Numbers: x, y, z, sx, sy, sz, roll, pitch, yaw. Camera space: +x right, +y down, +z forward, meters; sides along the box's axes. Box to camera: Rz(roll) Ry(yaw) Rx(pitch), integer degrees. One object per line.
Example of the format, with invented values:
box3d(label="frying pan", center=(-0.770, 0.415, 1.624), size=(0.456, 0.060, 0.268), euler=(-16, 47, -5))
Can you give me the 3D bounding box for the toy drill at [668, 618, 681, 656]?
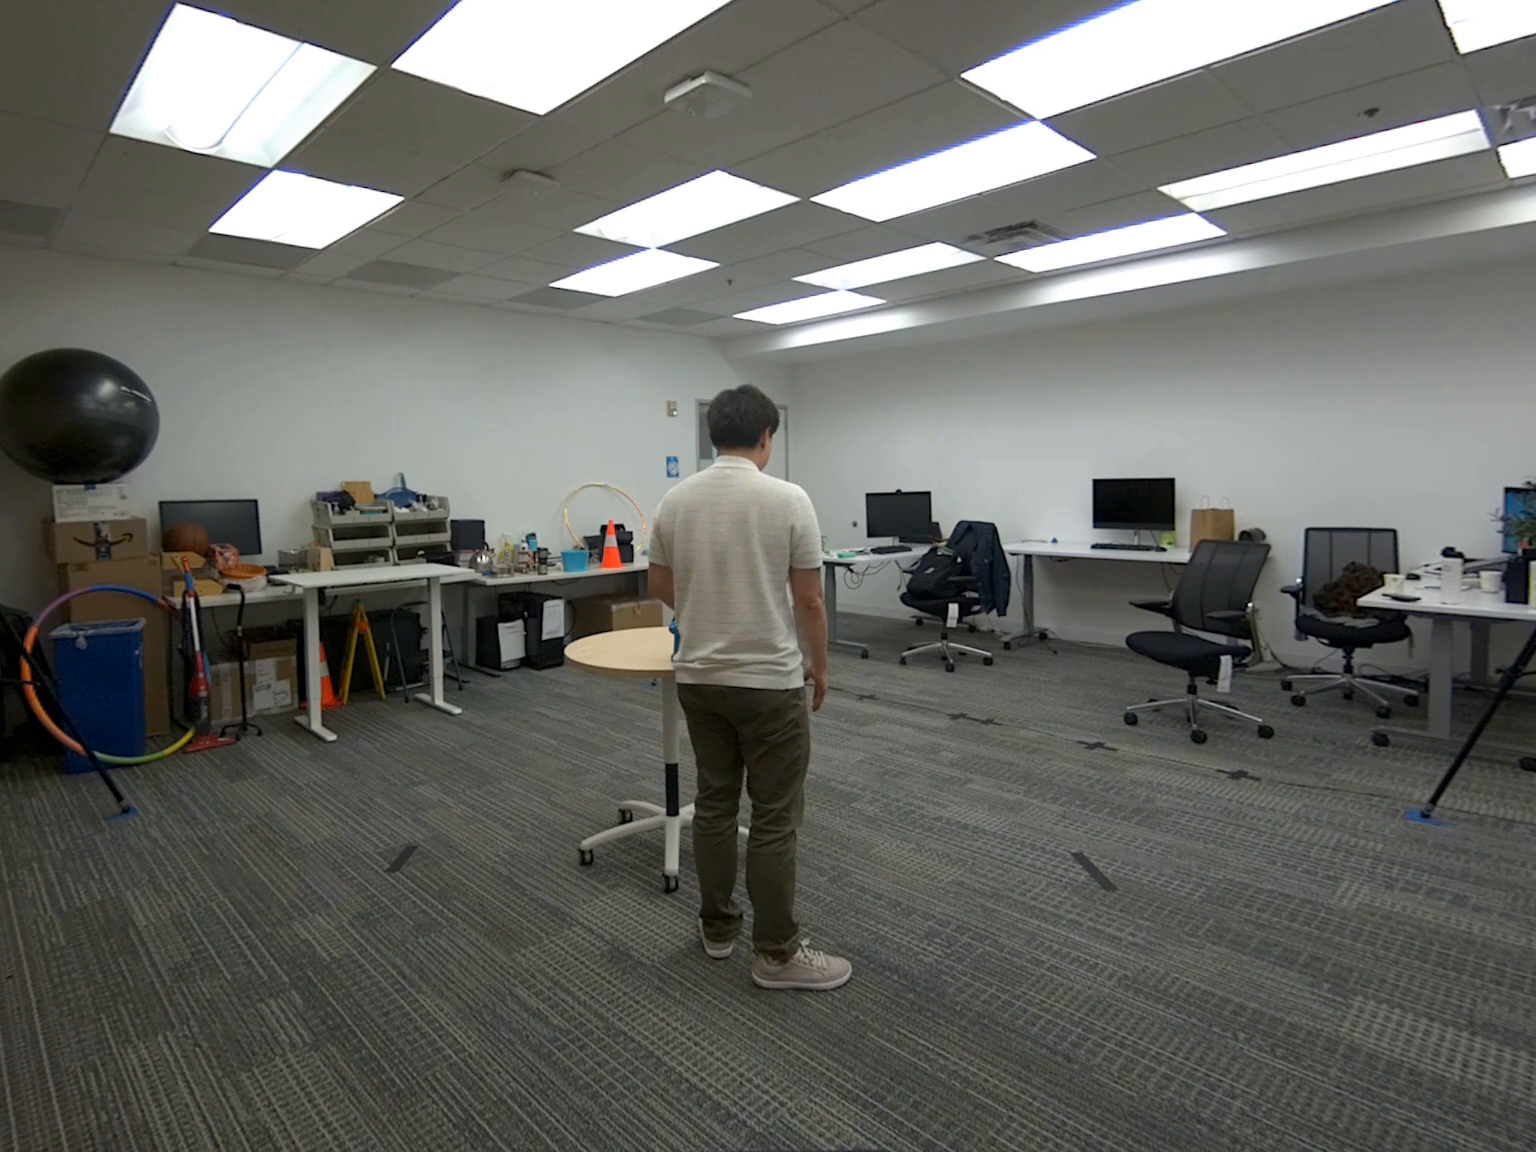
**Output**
box3d(label="toy drill", center=(-0.277, 0.213, 2.950), size=(0.063, 0.145, 0.166), euler=(3, 8, 33))
